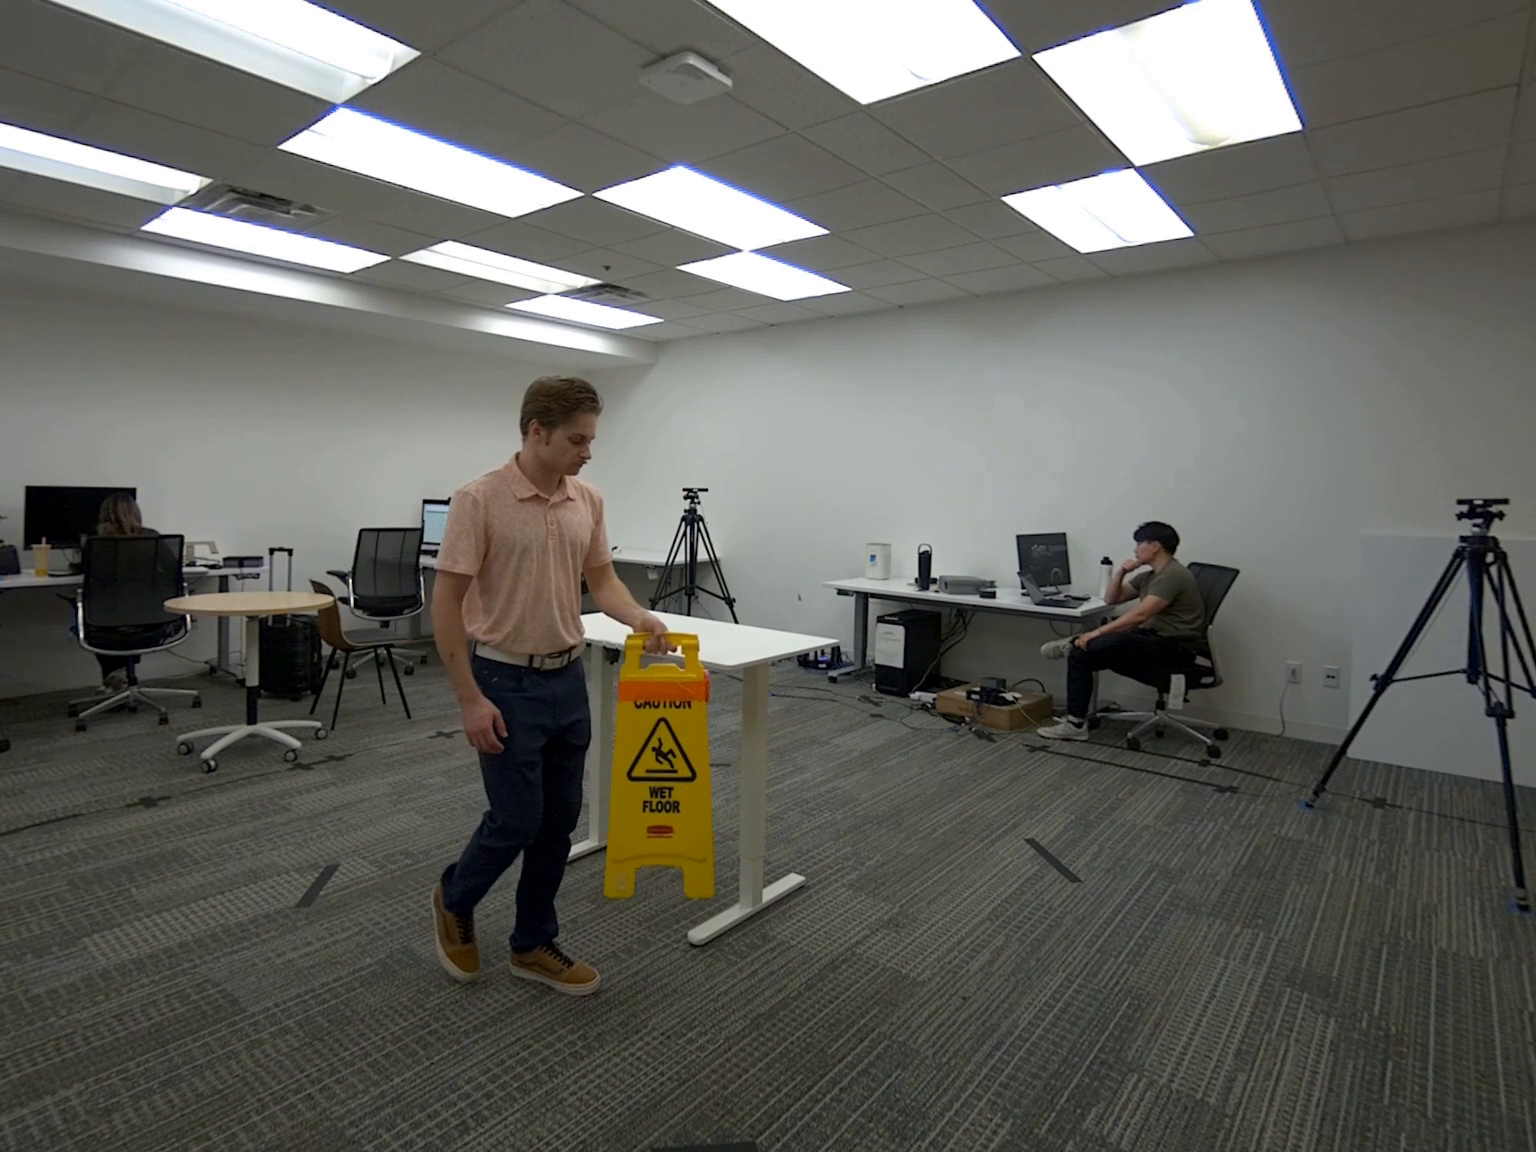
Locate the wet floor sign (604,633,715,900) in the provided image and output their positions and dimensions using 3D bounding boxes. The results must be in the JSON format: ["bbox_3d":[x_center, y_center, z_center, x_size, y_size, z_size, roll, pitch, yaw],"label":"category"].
[{"bbox_3d":[-0.288,0.480,2.244,0.281,0.647,0.290,-1,-1,-3],"label":"wet floor sign"}]
